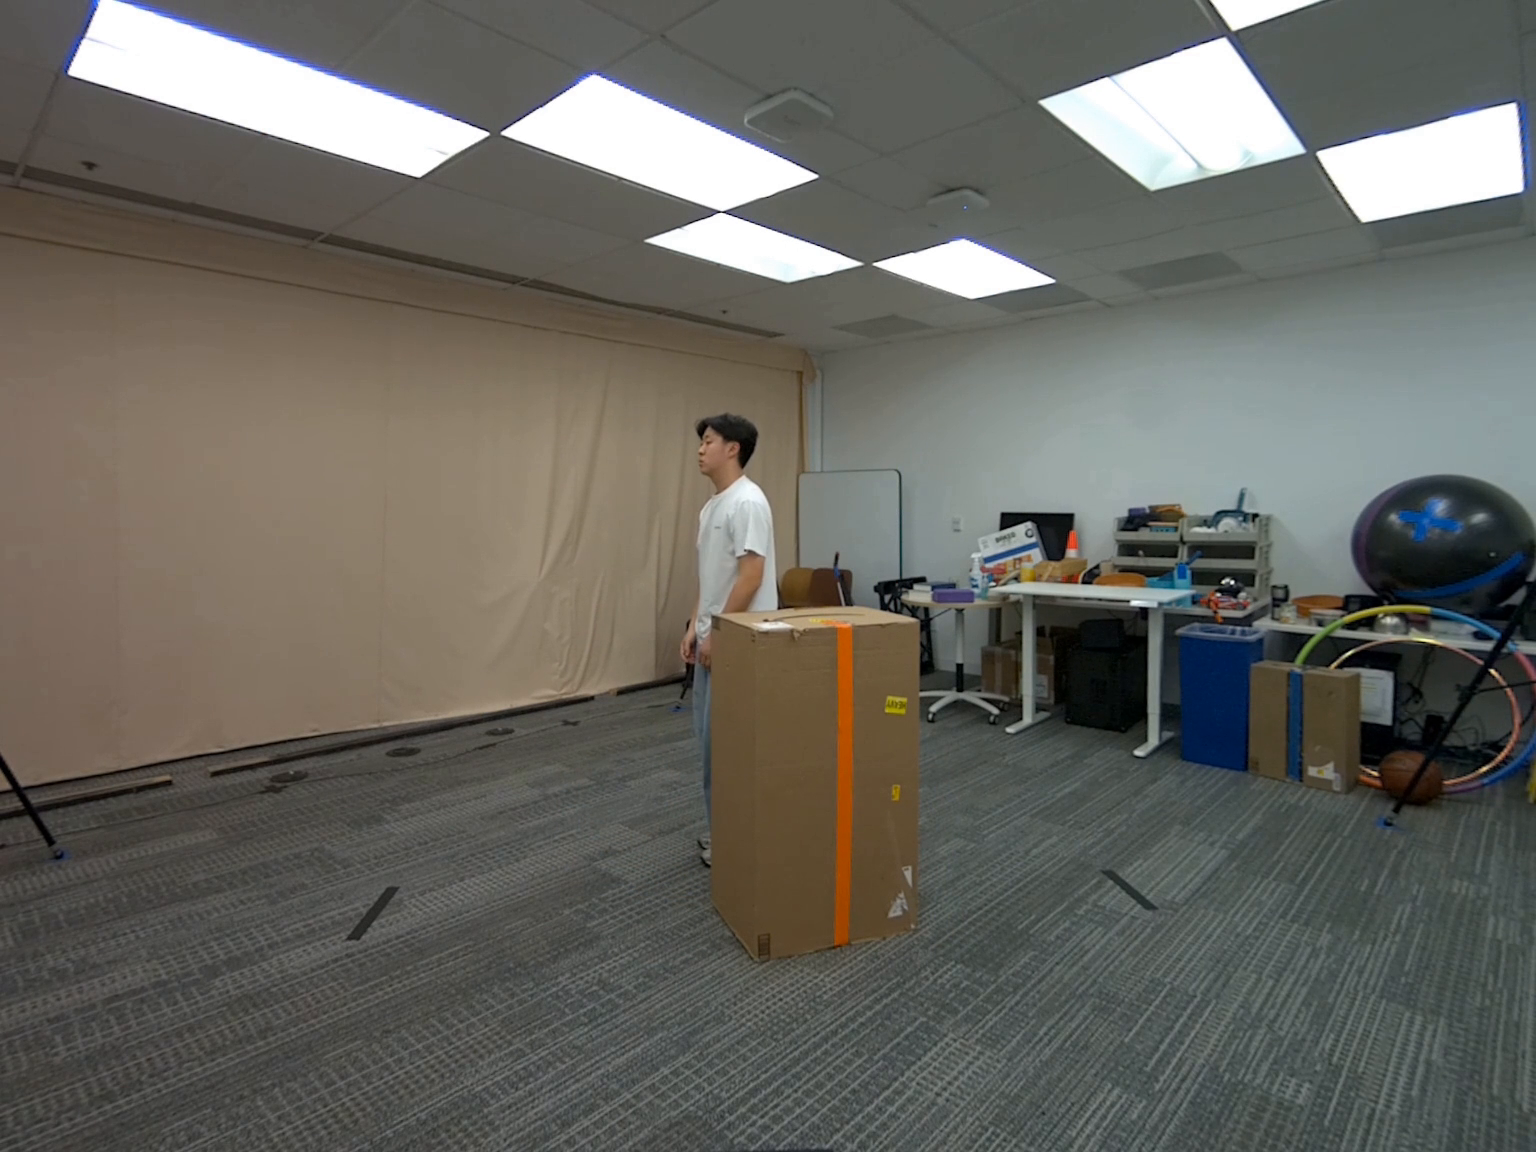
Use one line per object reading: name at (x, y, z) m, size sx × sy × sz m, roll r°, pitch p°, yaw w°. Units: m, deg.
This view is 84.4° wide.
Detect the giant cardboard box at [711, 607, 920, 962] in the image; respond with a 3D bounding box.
giant cardboard box at (0.152, 0.646, 2.828) m, size 0.565 × 1.024 × 0.436 m, roll -1°, pitch 3°, yaw -23°
